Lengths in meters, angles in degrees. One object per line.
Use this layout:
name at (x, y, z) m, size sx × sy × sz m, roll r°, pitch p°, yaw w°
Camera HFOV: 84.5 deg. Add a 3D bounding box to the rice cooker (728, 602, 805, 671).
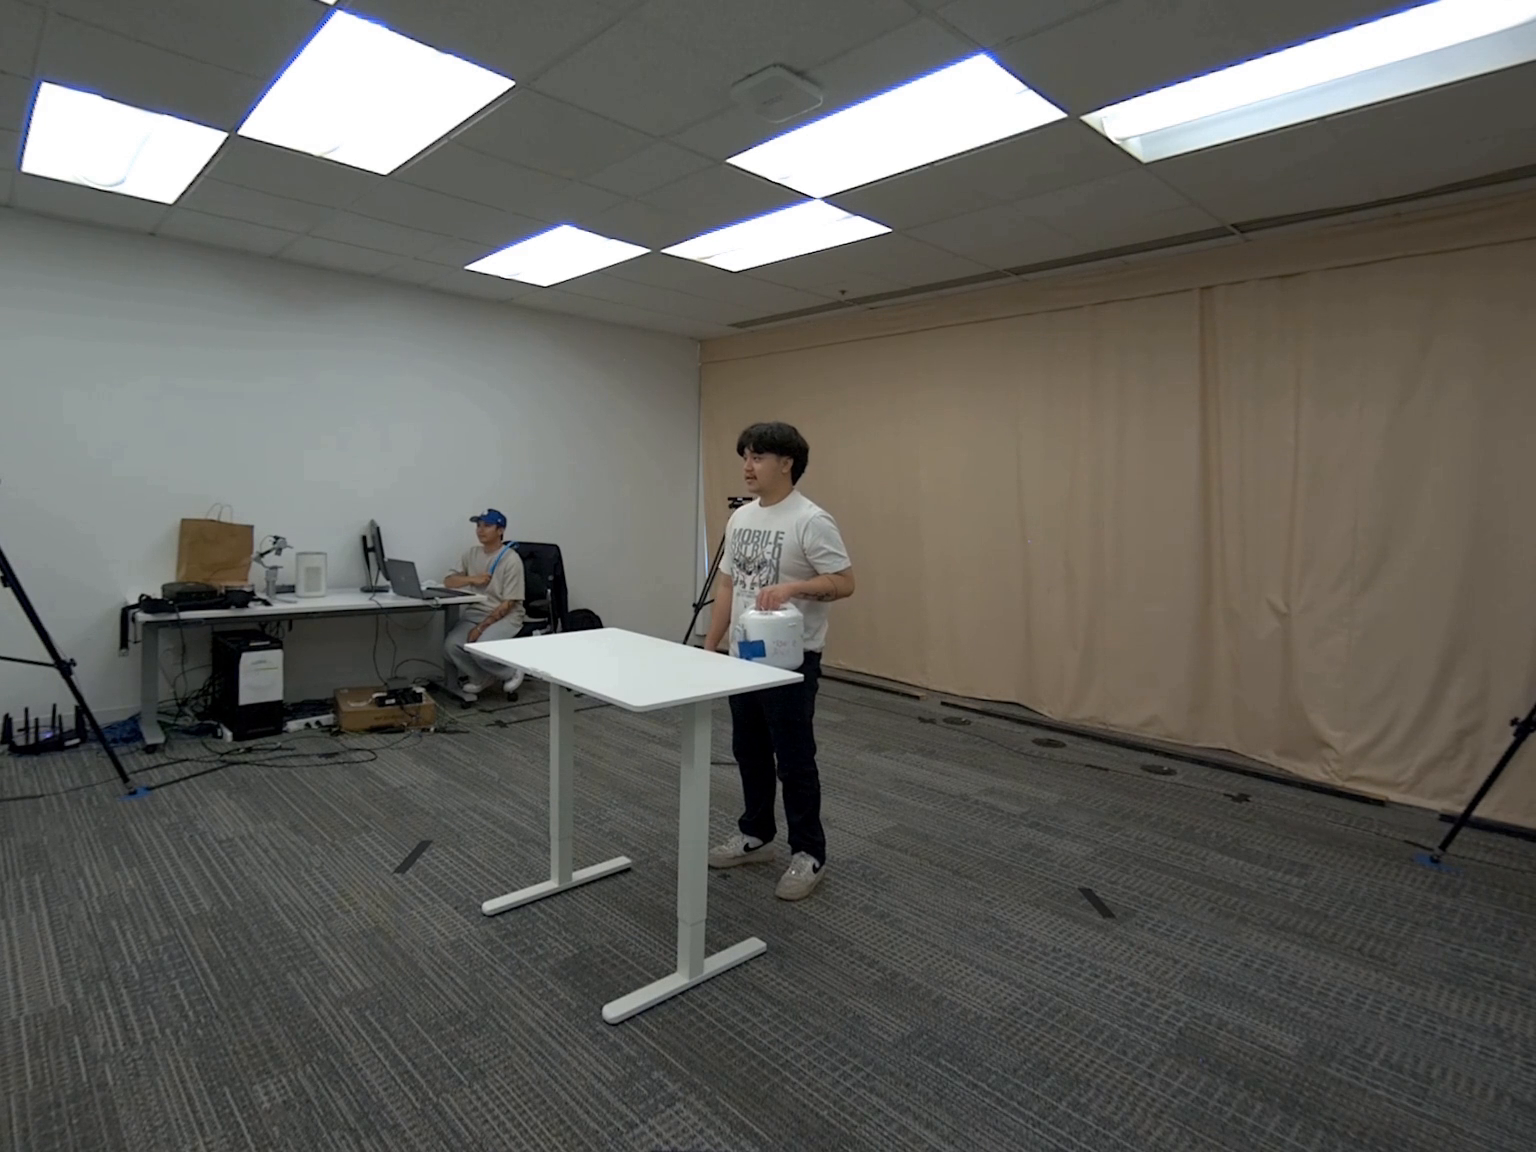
rice cooker at (-0.002, 0.200, 2.849) m, size 0.223 × 0.232 × 0.216 m, roll 0°, pitch 6°, yaw 13°
